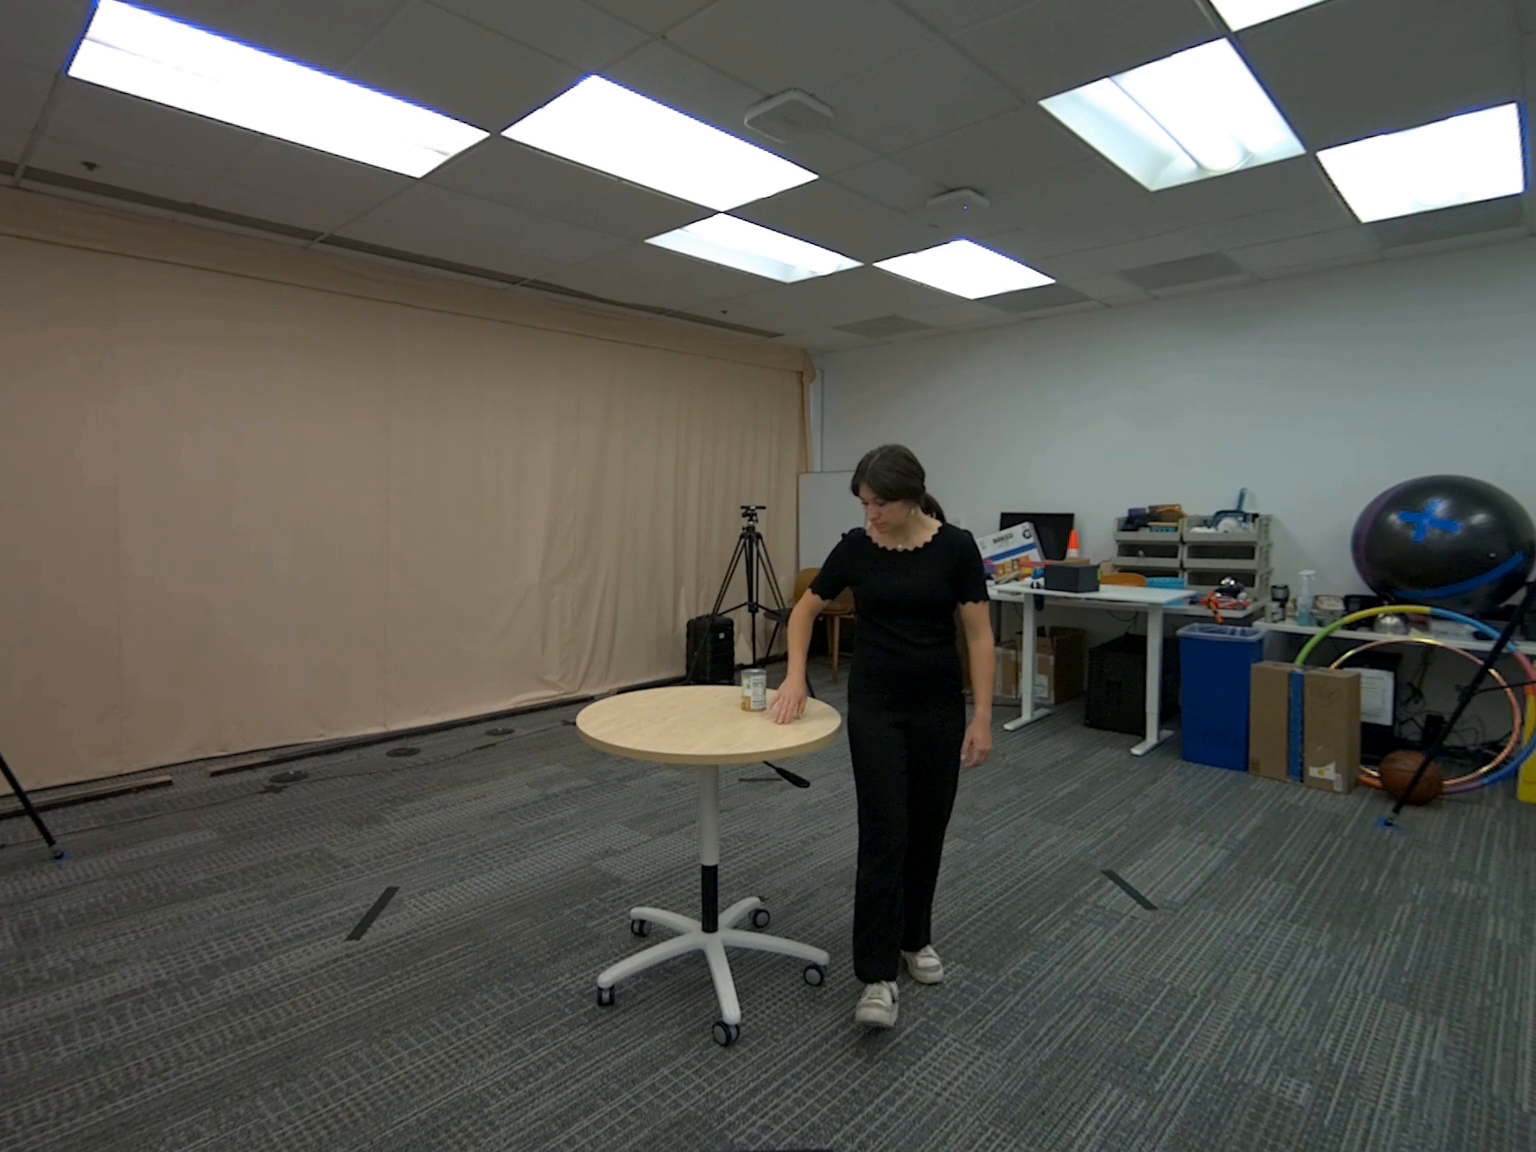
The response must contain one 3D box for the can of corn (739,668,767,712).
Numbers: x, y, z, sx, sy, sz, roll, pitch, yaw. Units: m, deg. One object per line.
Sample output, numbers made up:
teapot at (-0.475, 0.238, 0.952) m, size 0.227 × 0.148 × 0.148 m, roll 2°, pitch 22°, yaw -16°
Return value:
can of corn at (-0.035, 0.346, 2.517) m, size 0.074 × 0.111 × 0.074 m, roll 1°, pitch 5°, yaw -2°
